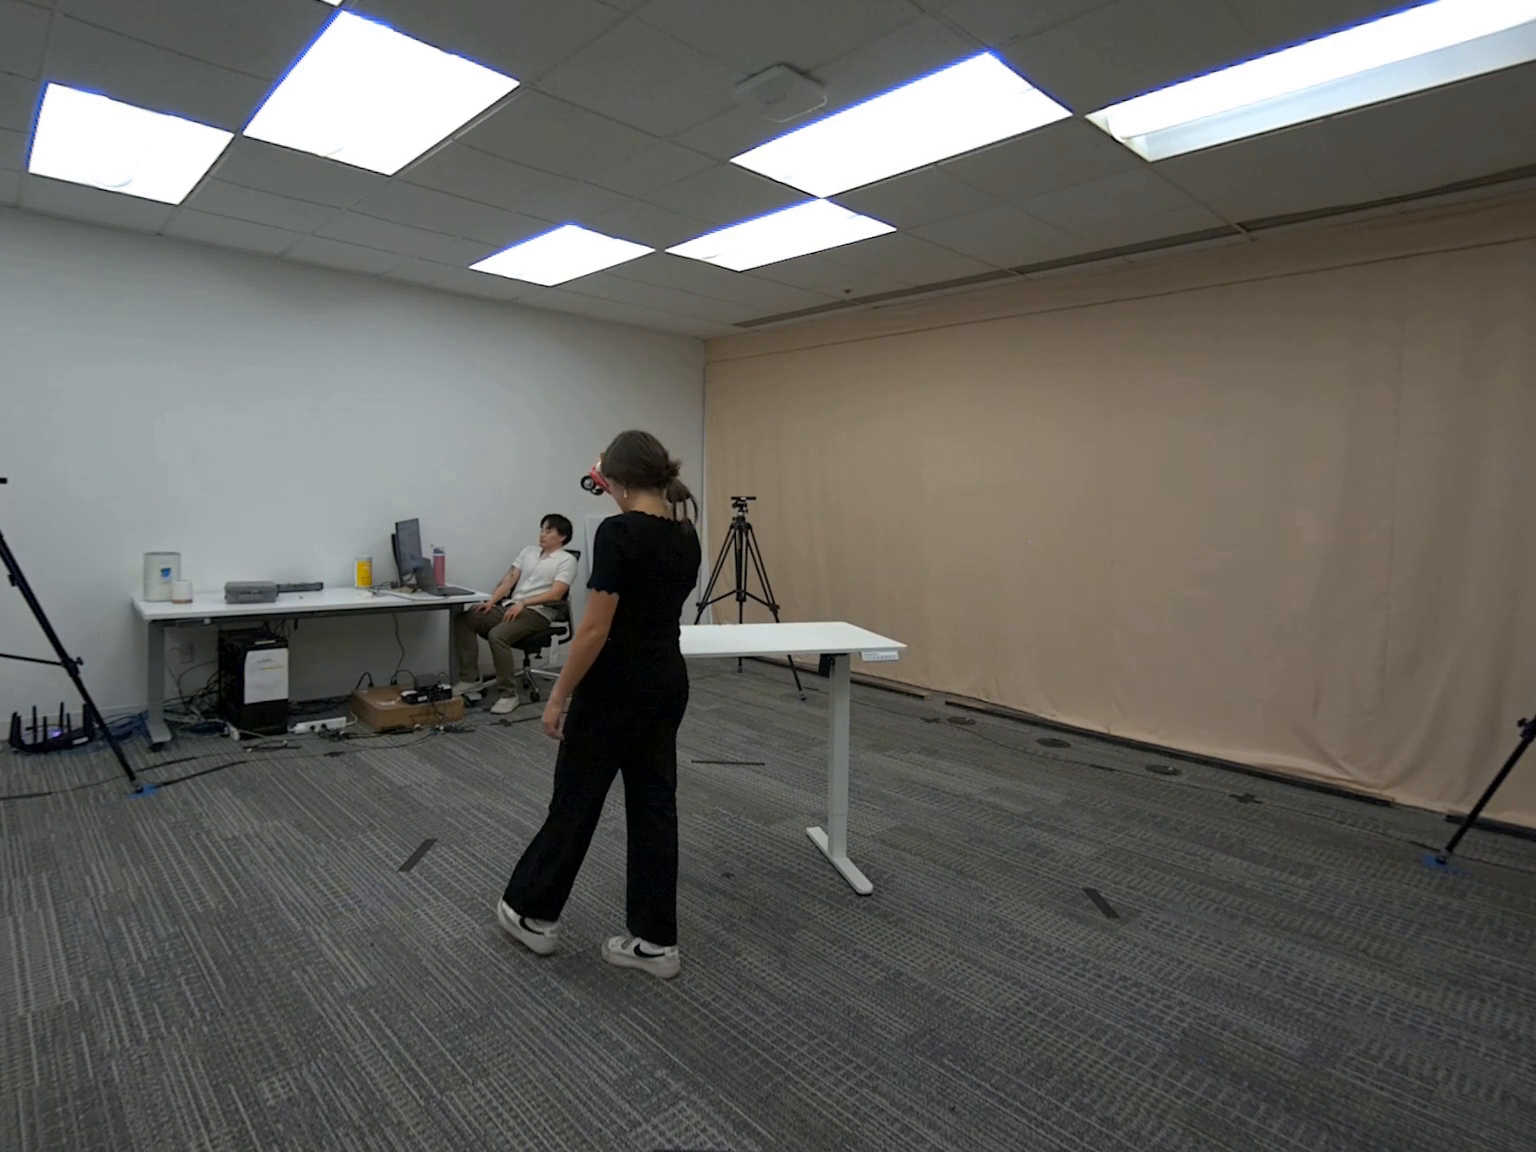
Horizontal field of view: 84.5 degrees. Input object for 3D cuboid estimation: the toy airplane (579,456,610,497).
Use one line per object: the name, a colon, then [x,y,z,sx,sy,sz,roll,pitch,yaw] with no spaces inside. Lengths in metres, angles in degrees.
toy airplane: [-0.535,-0.306,2.978,0.255,0.156,0.255,39,2,-16]
